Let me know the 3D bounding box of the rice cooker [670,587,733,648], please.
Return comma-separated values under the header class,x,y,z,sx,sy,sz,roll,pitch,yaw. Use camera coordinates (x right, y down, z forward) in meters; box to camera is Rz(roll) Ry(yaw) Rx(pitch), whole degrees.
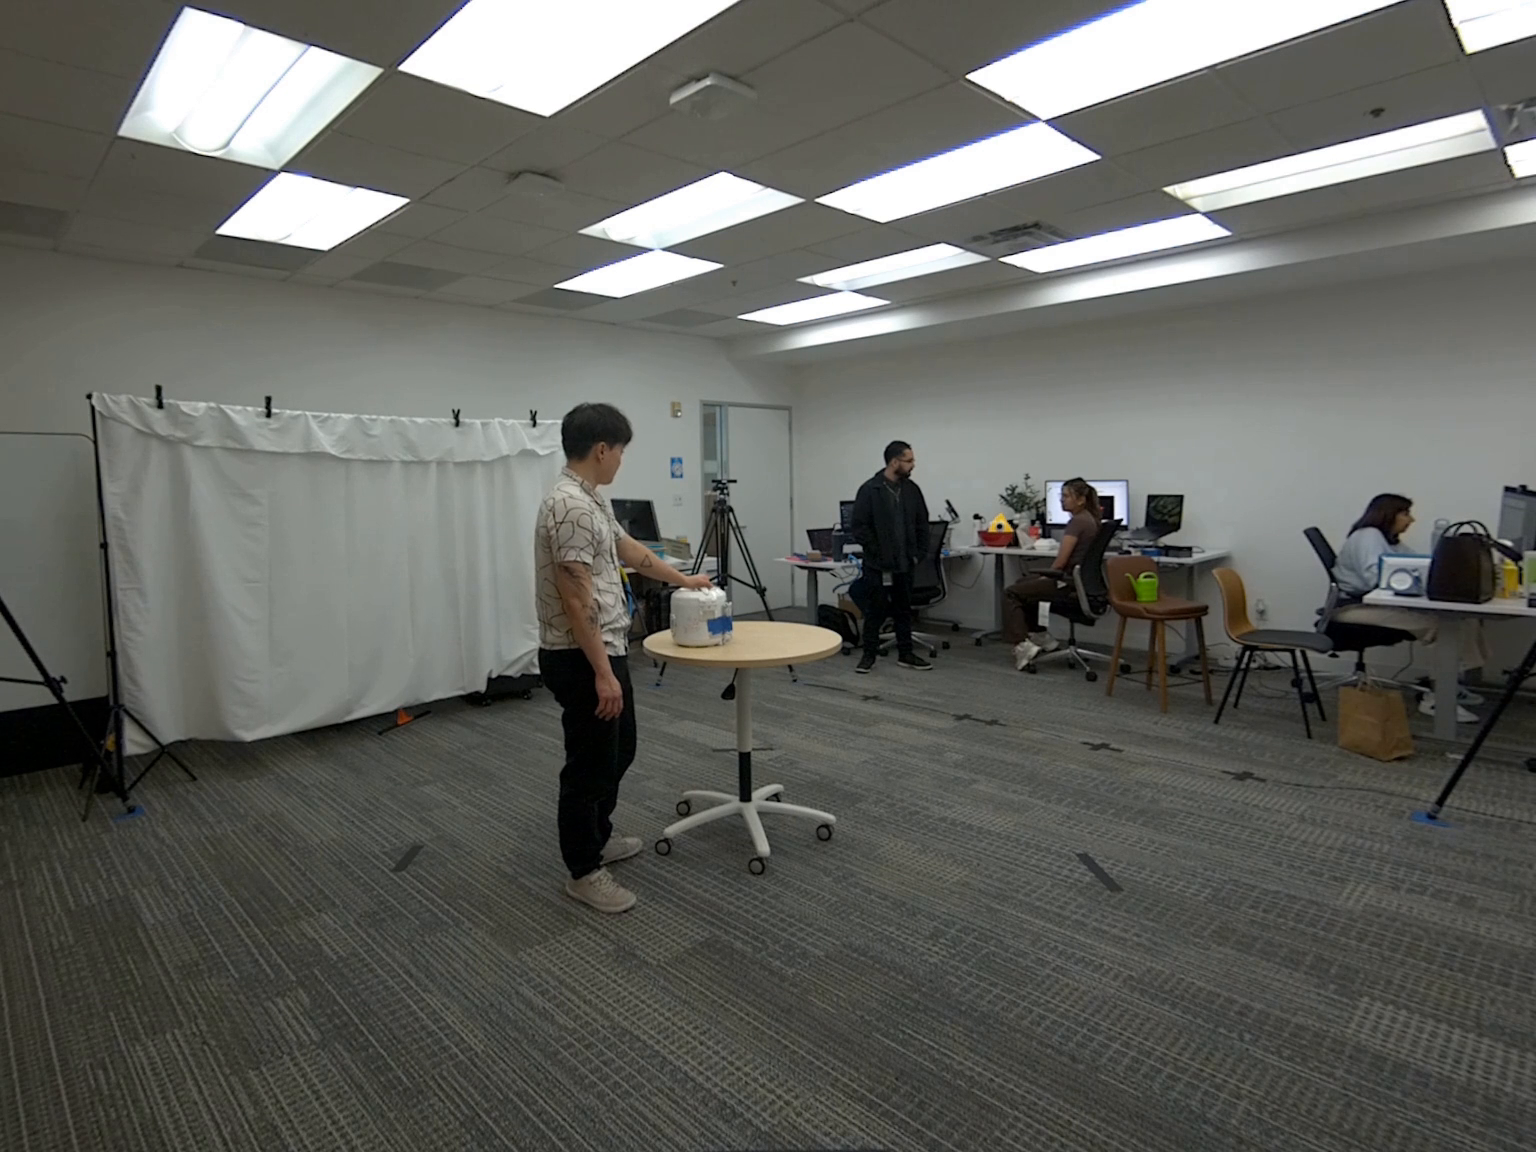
class,x,y,z,sx,sy,sz,roll,pitch,yaw
rice cooker,-0.257,0.141,3.236,0.213,0.232,0.225,-3,4,-21
